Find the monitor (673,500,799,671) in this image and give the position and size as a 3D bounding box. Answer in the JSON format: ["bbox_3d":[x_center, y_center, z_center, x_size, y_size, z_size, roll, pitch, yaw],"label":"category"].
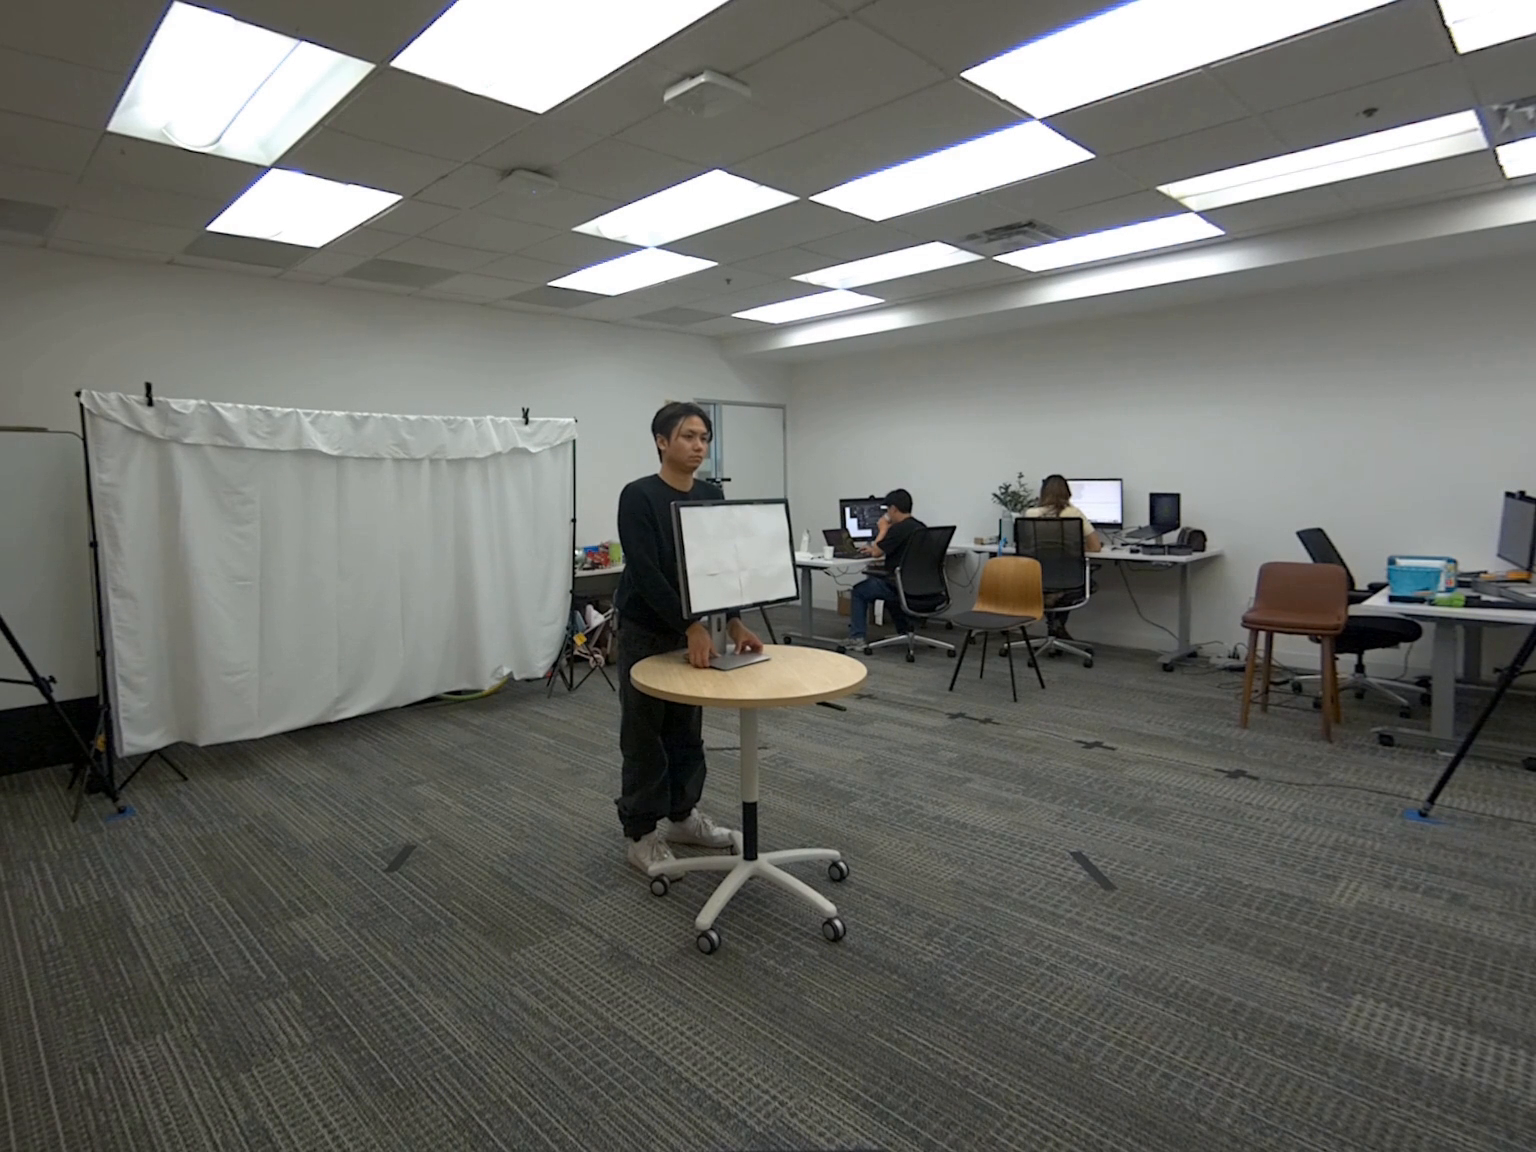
[{"bbox_3d":[-0.126,0.017,2.870,0.193,0.519,0.525,9,10,39],"label":"monitor"}]
